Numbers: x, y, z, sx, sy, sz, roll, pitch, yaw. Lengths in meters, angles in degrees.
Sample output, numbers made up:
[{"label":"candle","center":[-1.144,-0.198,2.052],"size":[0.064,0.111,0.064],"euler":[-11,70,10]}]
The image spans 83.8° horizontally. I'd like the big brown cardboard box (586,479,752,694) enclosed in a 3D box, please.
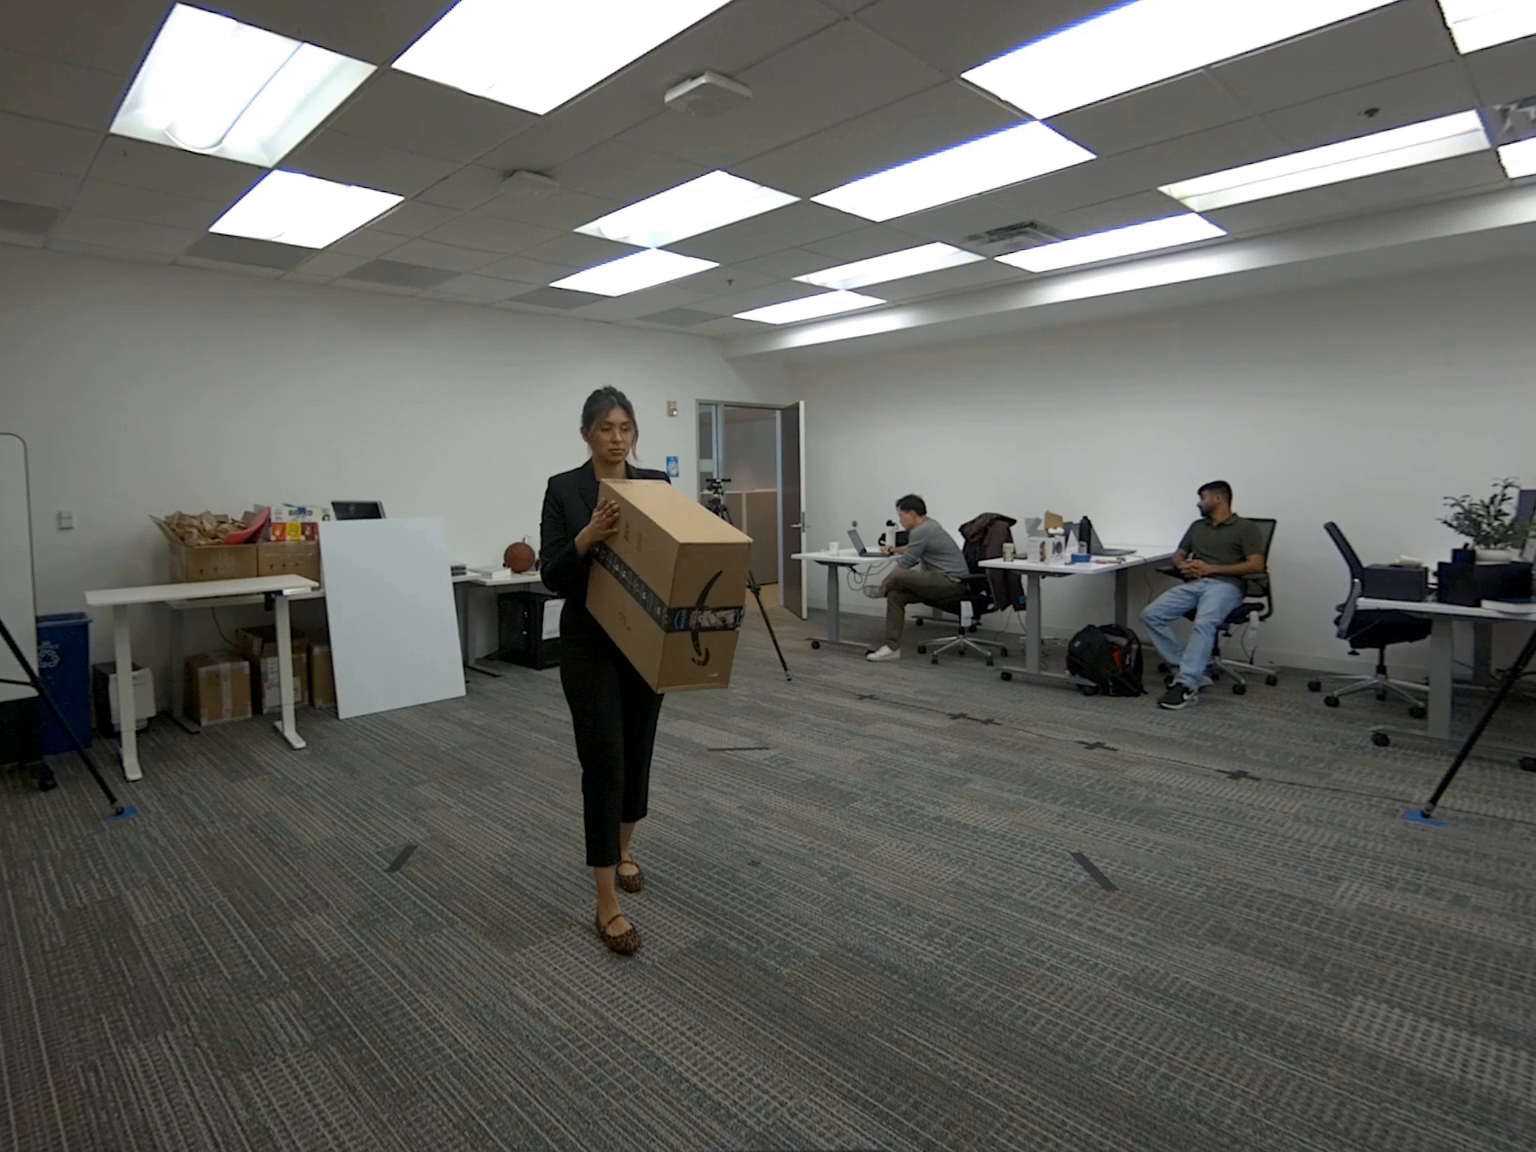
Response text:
[{"label":"big brown cardboard box","center":[-0.292,0.007,2.406],"size":[0.227,0.412,0.611],"euler":[0,21,-32]}]
